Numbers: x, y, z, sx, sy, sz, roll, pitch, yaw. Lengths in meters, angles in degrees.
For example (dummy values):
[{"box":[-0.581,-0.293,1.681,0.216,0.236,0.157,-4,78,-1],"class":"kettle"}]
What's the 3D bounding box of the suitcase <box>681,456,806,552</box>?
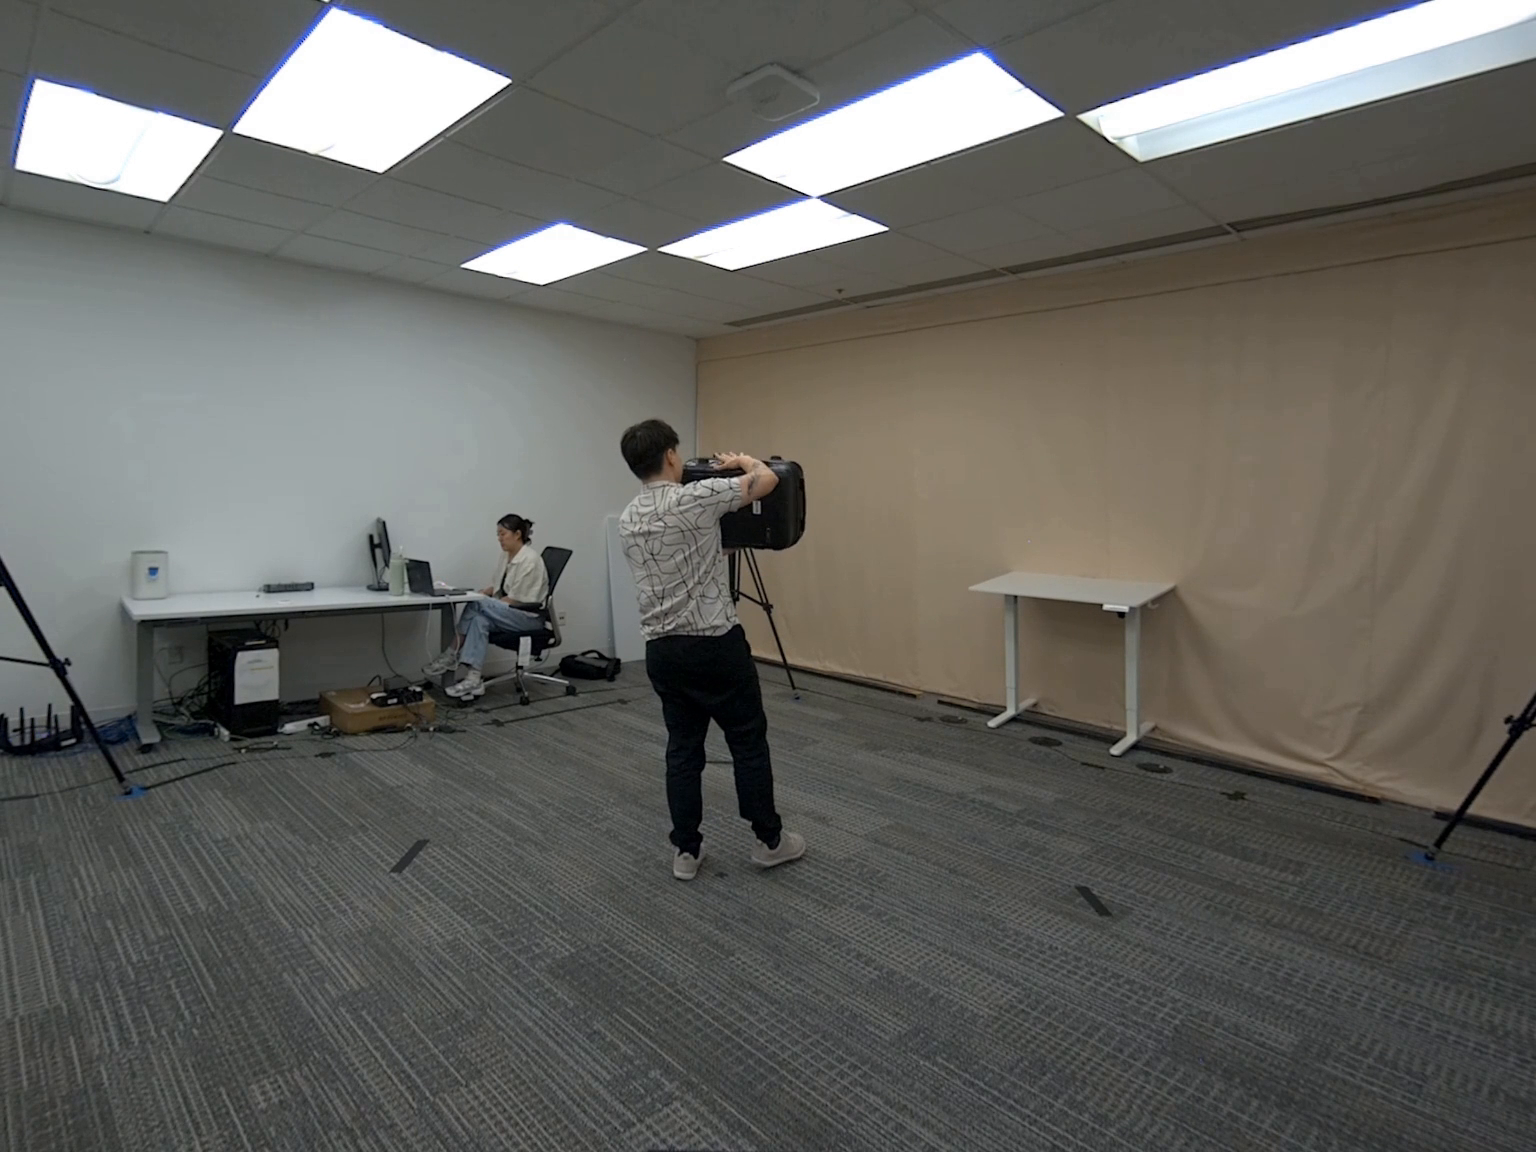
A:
[{"box":[-0.128,-0.295,3.455,0.559,0.371,0.246,4,15,23],"class":"suitcase"}]
